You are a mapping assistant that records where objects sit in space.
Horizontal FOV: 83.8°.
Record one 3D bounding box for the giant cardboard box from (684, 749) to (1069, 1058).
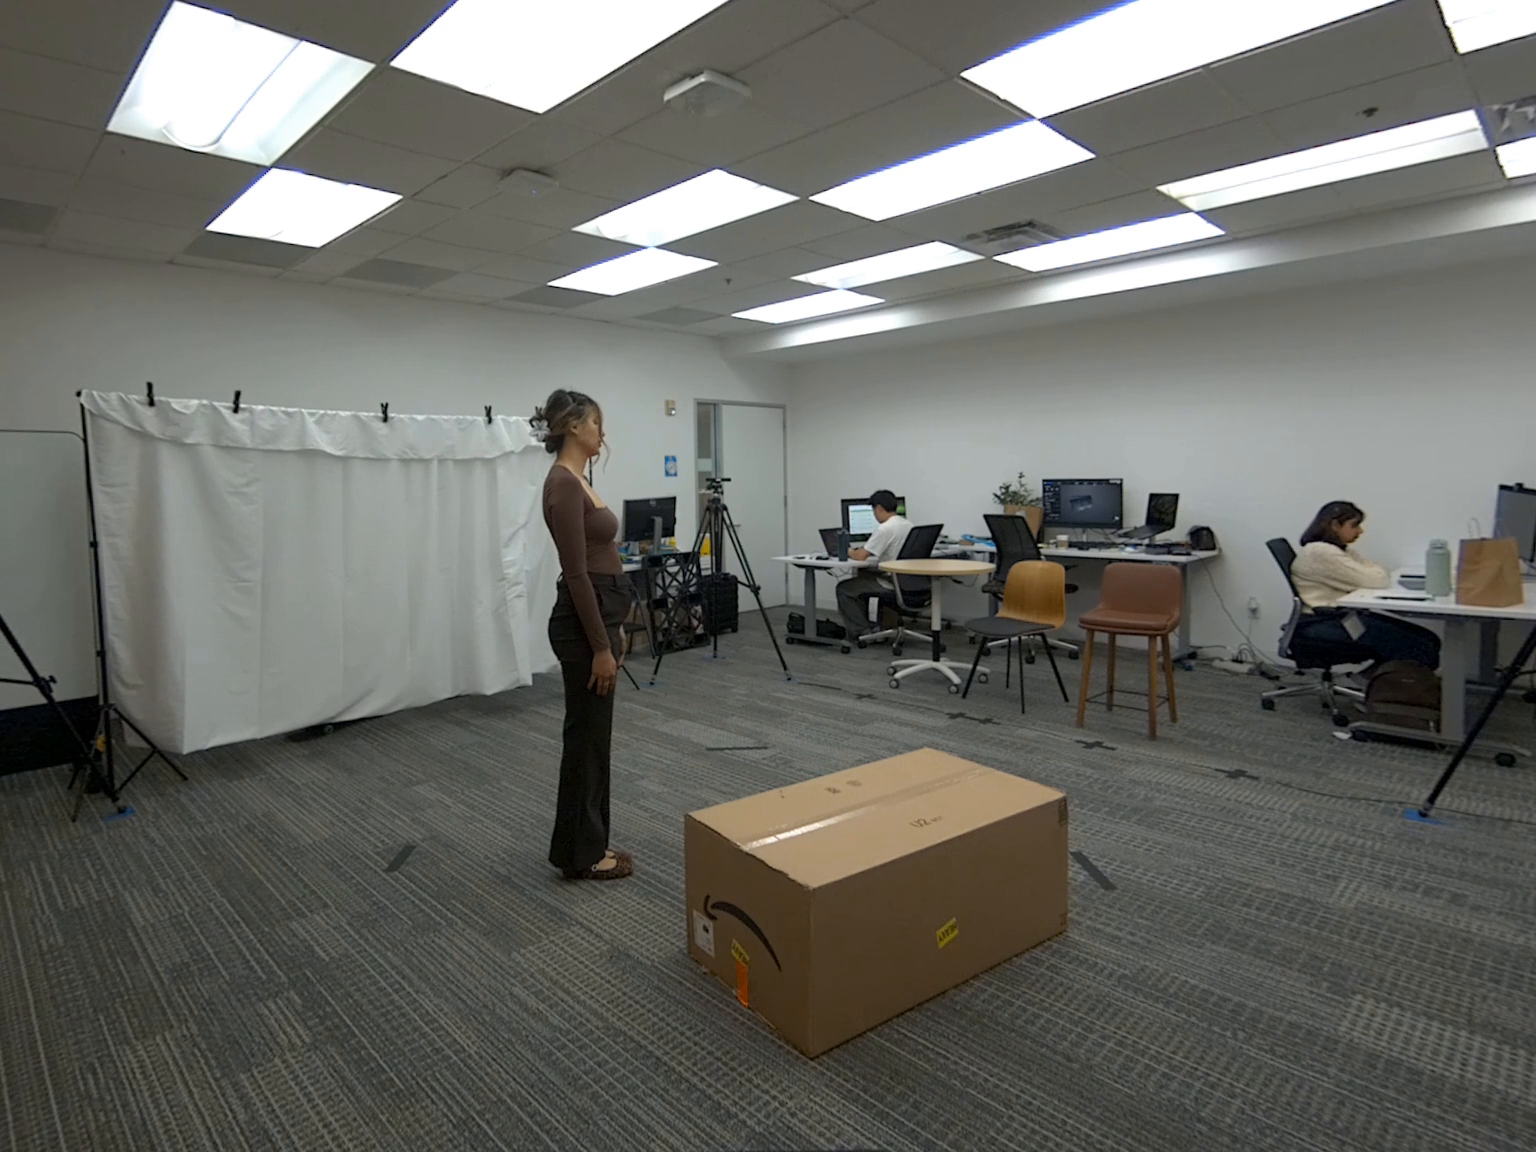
[{"bbox_3d":[0.334,0.890,2.548,1.002,0.444,0.602,-6,8,-34],"label":"giant cardboard box"}]
